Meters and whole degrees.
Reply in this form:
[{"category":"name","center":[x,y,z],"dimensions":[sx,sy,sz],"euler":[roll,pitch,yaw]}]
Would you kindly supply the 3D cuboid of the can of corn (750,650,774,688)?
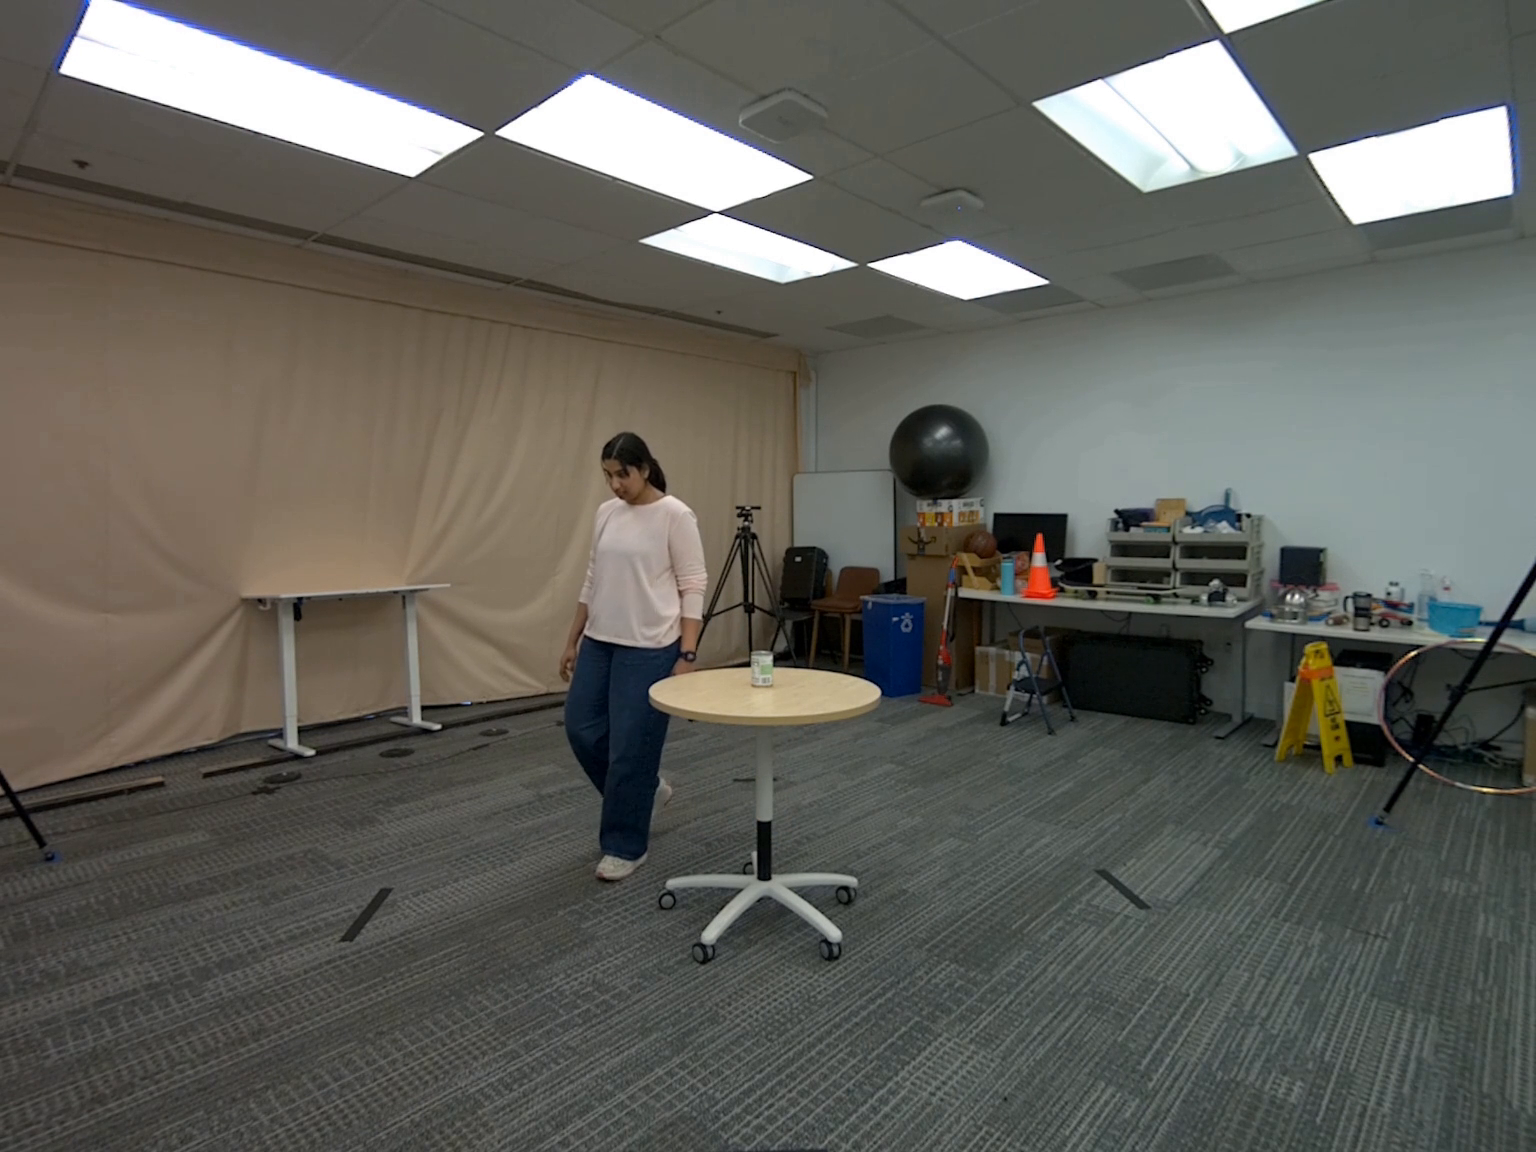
[{"category":"can of corn","center":[-0.013,0.314,2.844],"dimensions":[0.074,0.111,0.074],"euler":[-1,3,-2]}]
